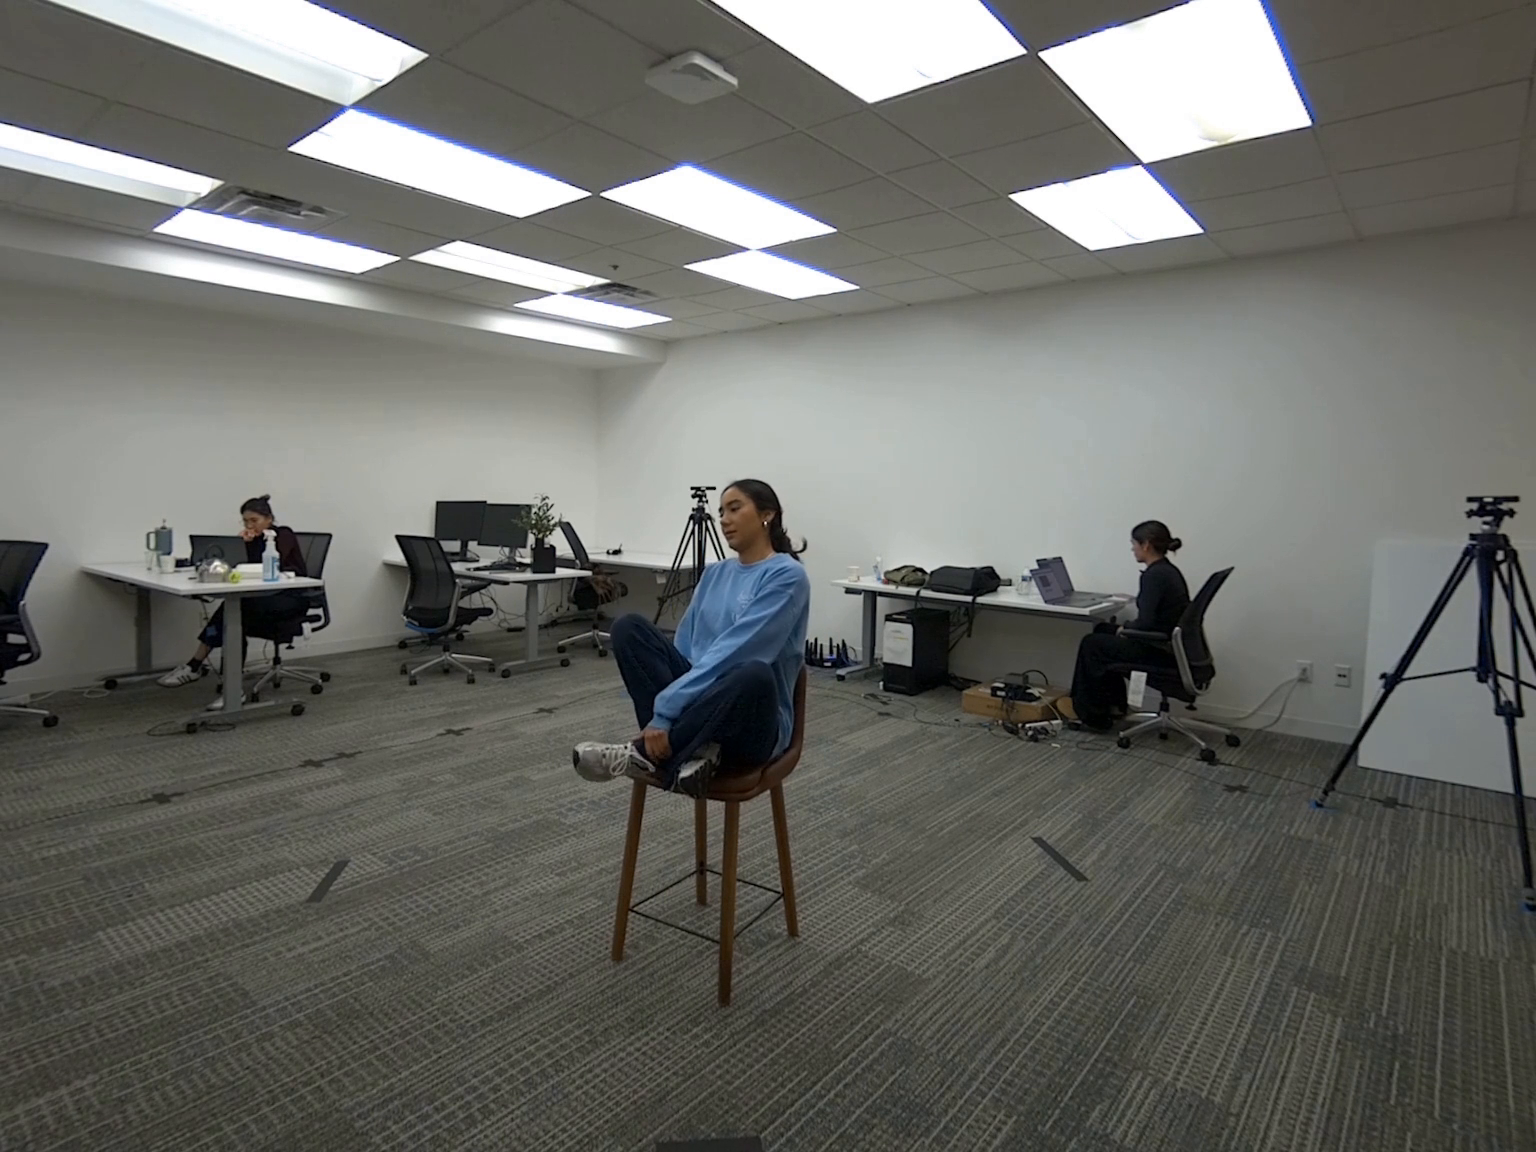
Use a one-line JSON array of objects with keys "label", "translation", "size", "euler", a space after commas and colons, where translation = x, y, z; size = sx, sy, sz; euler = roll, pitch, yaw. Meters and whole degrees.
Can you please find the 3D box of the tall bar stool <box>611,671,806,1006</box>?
[{"label": "tall bar stool", "translation": [-0.170, 0.685, 2.558], "size": [0.470, 0.888, 0.454], "euler": [4, 2, 32]}]
